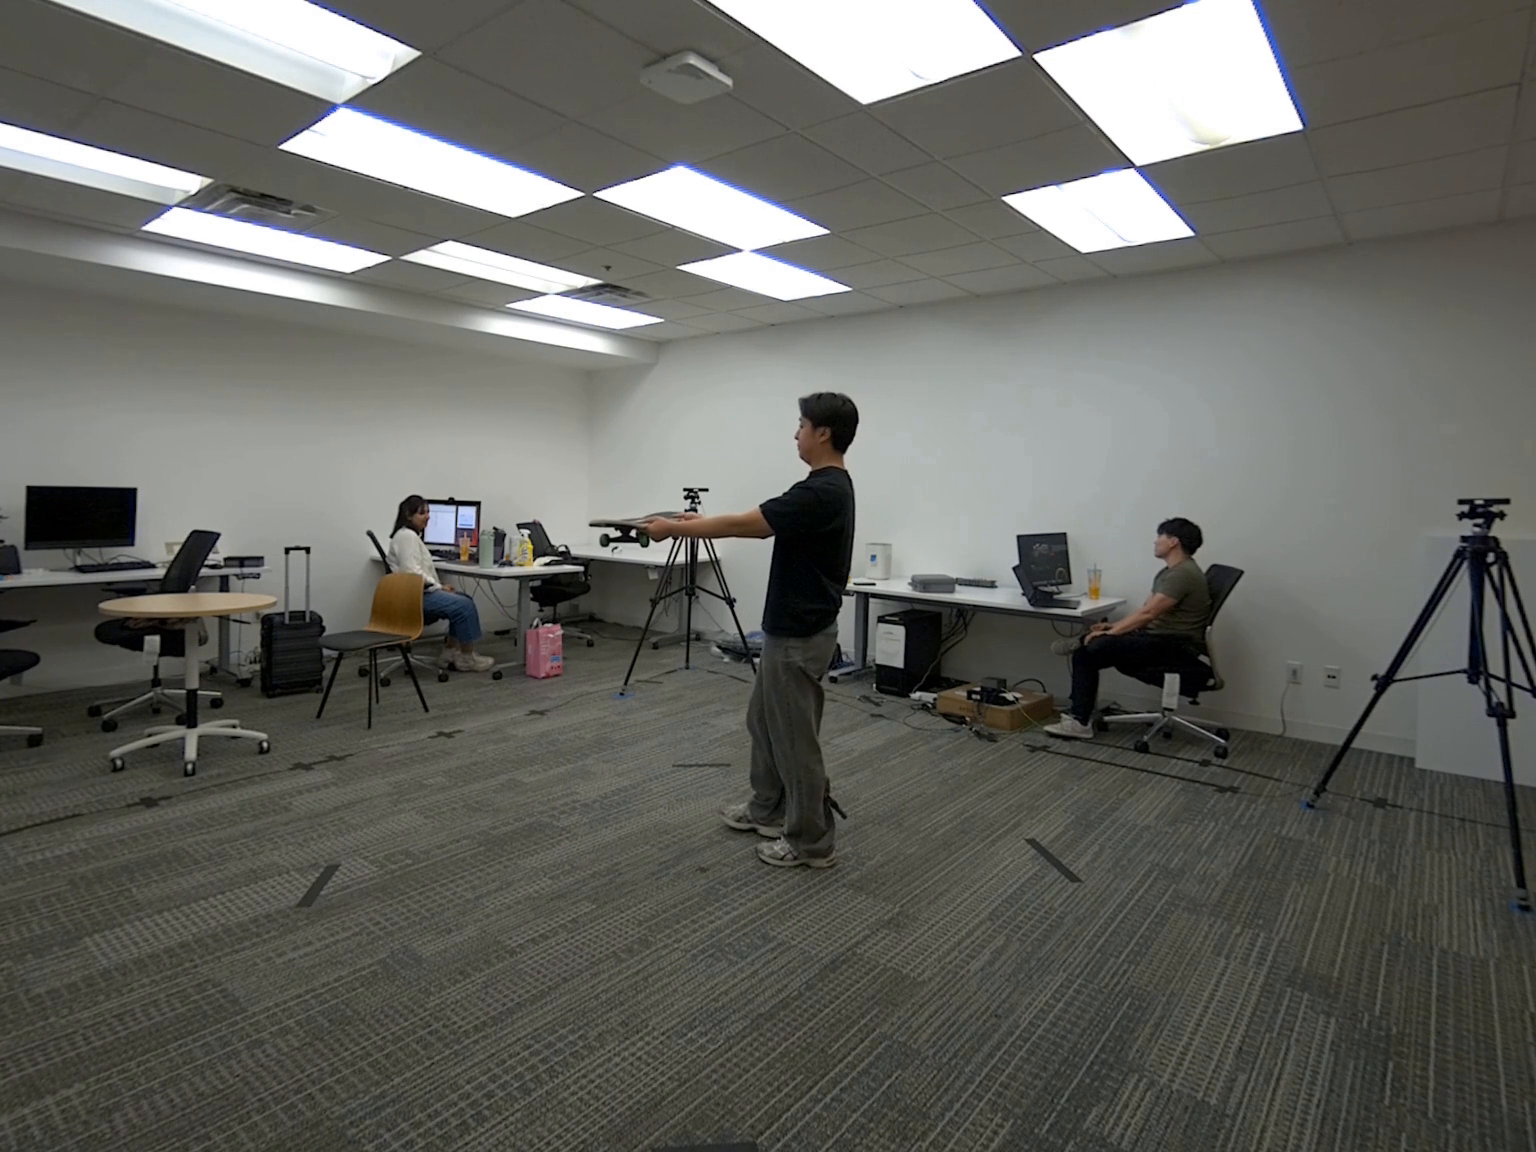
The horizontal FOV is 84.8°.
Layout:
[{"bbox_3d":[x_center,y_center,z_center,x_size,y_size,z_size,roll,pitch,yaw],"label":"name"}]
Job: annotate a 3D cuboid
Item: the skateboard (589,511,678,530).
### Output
[{"bbox_3d":[-0.498,-0.180,3.286,0.196,0.110,0.778,-1,6,12],"label":"skateboard"}]
